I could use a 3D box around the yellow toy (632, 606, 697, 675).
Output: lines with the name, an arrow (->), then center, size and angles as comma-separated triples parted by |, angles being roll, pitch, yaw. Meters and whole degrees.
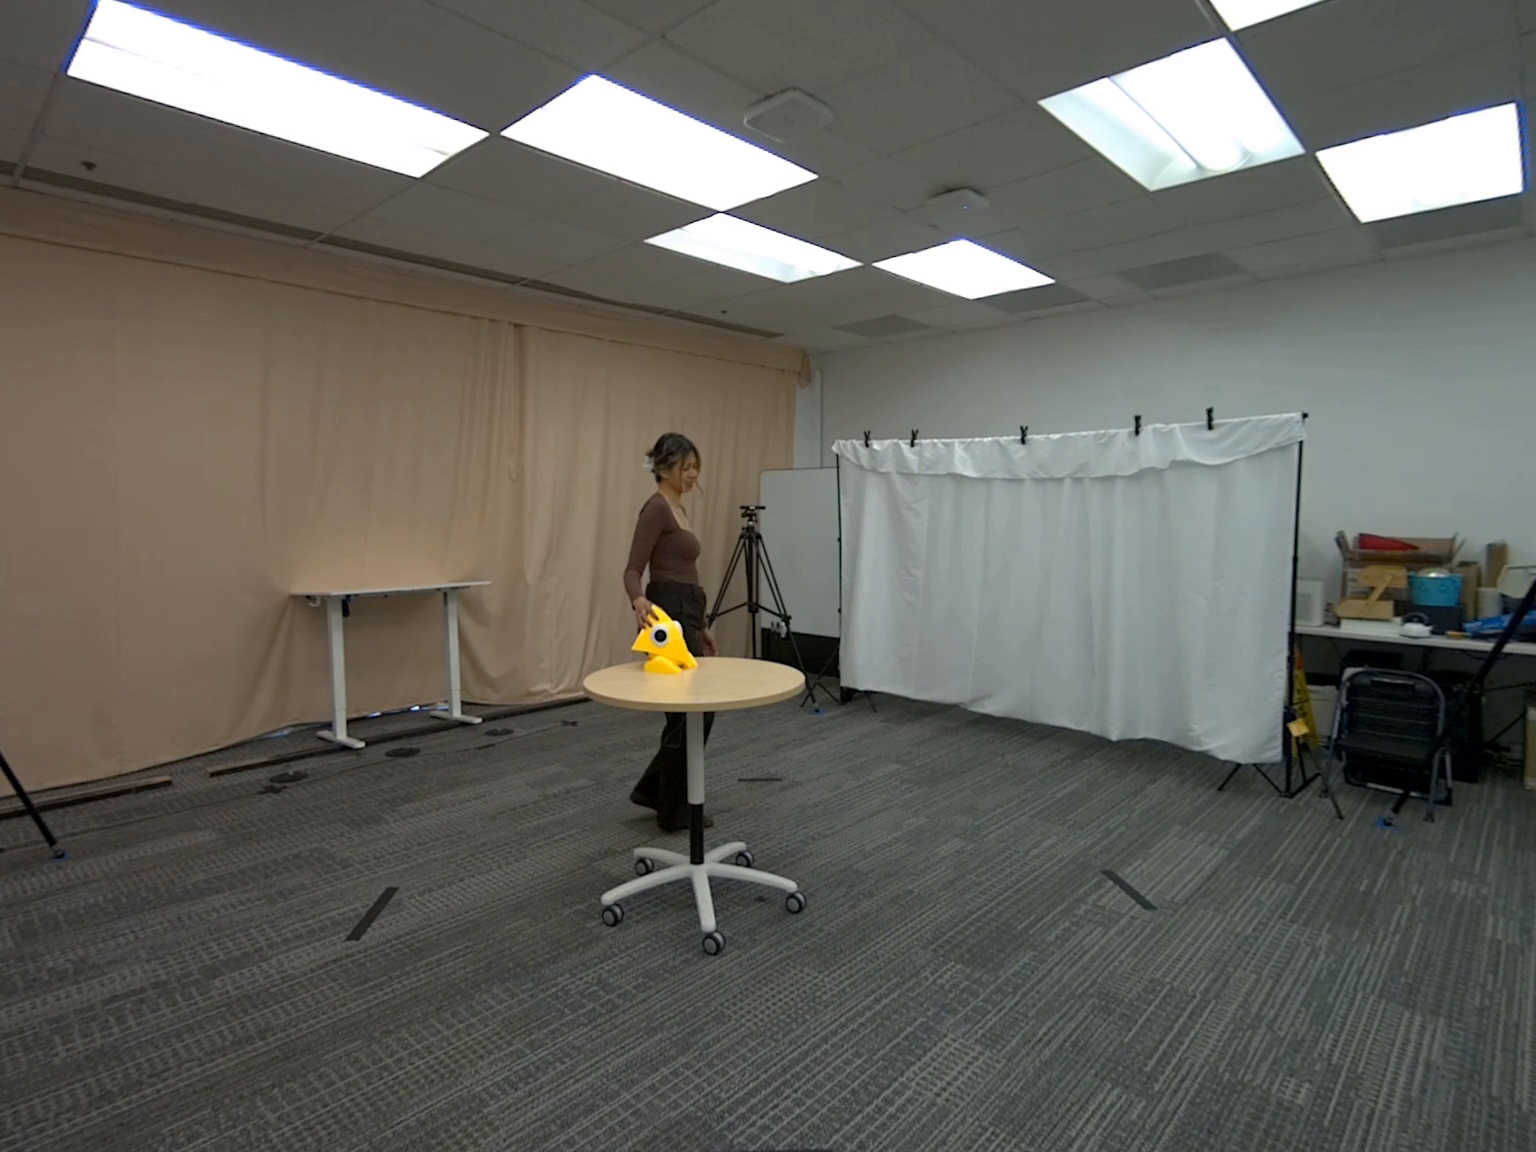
yellow toy -> -0.371, 0.225, 3.109 | 0.198, 0.230, 0.200 | 2, 5, 27
